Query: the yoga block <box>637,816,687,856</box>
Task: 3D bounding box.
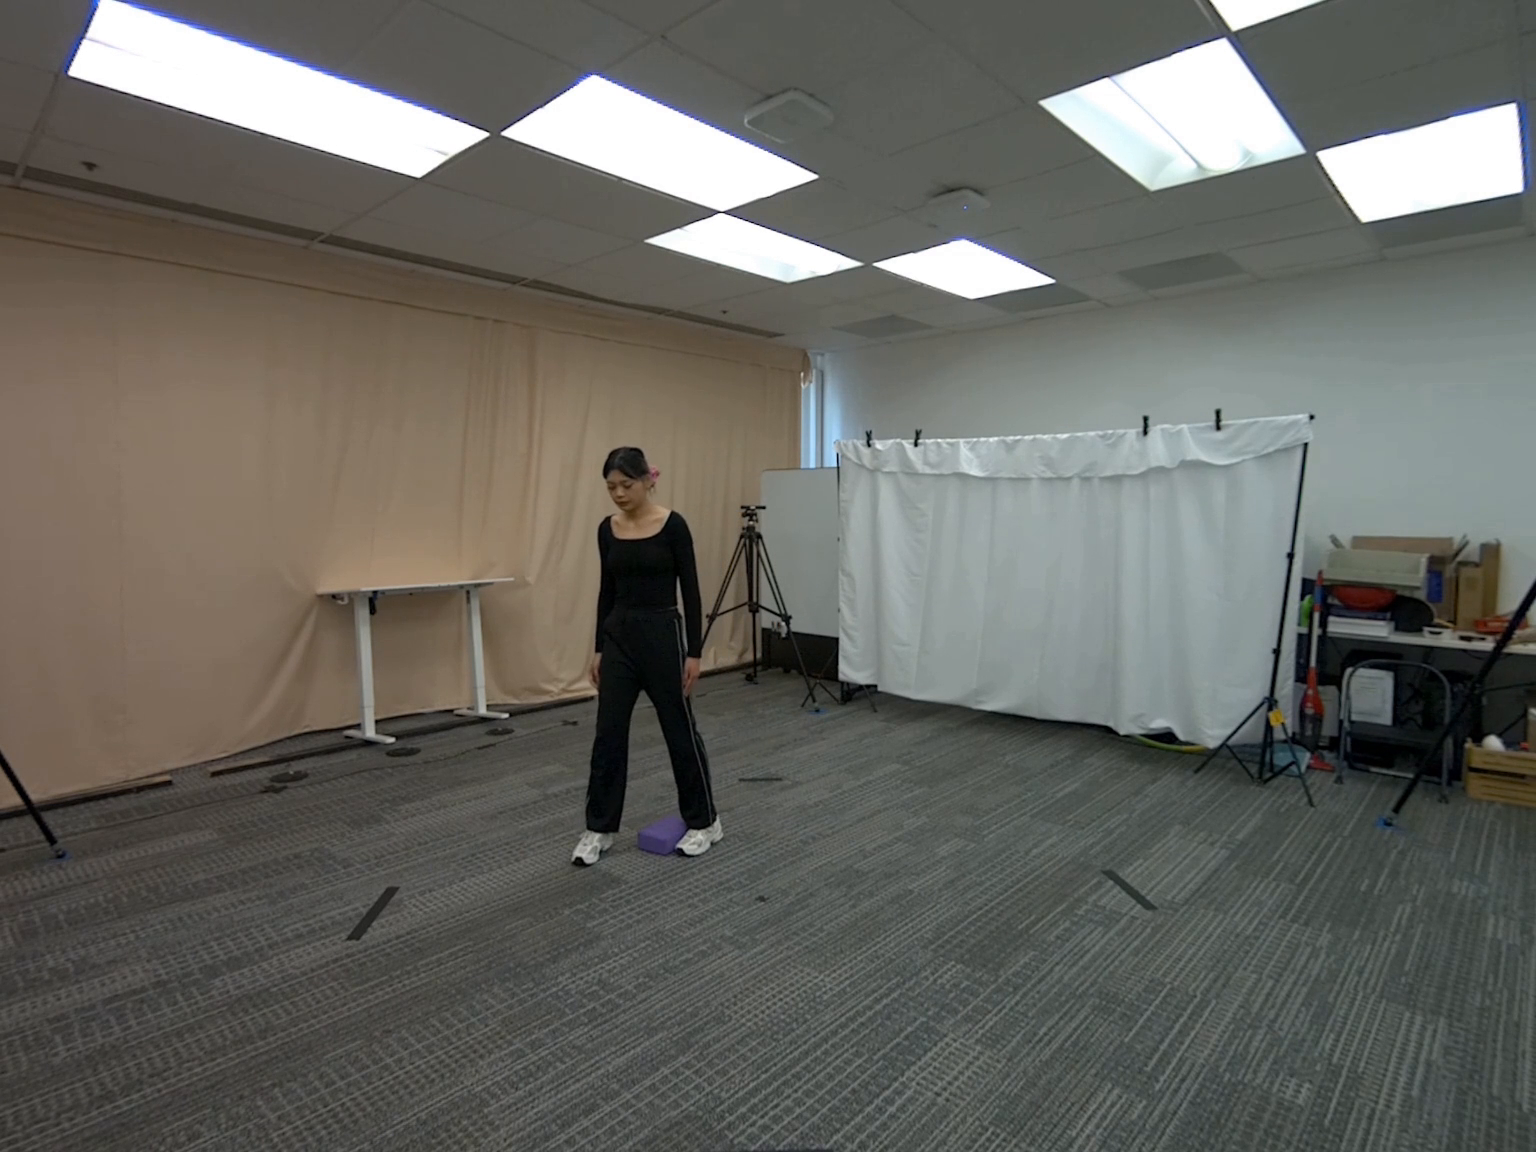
[{"bbox_3d":[-0.411,1.069,3.474,0.153,0.076,0.223,3,5,30],"label":"yoga block"}]
